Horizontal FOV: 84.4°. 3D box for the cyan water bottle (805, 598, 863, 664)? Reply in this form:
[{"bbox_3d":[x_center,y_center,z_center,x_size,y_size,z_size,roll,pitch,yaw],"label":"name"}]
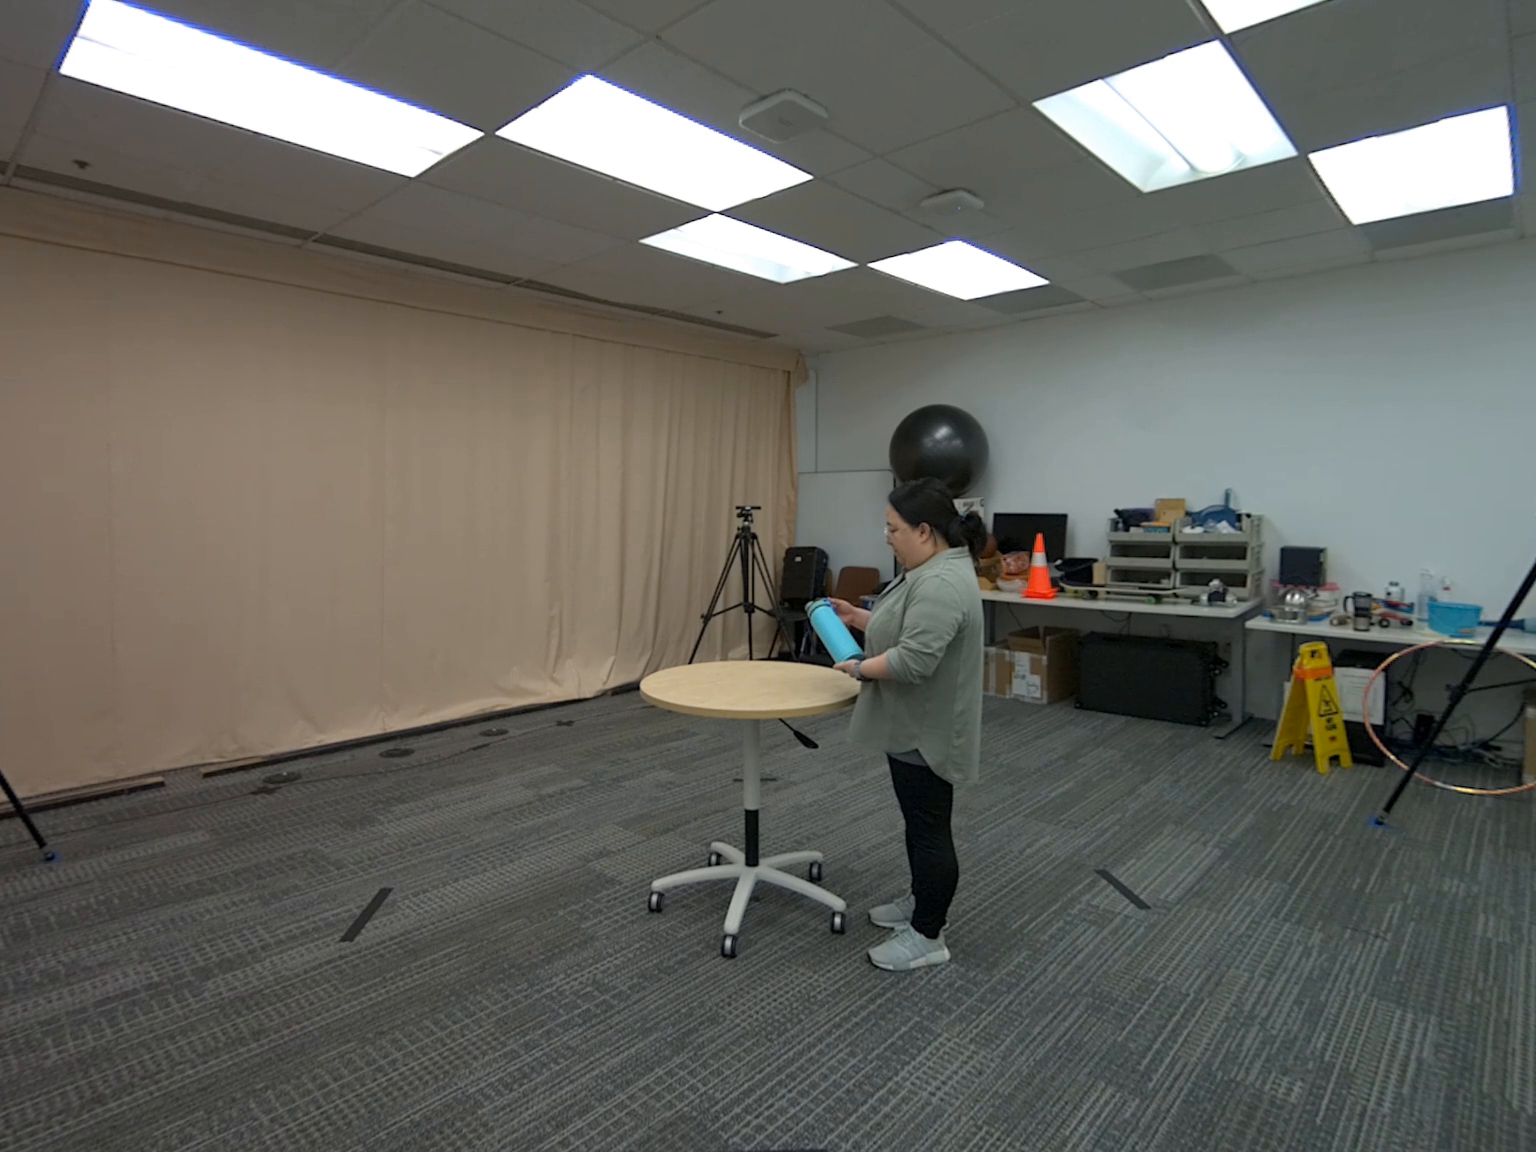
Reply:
[{"bbox_3d":[0.224,0.183,2.690,0.090,0.092,0.292,-2,44,-28],"label":"cyan water bottle"}]
